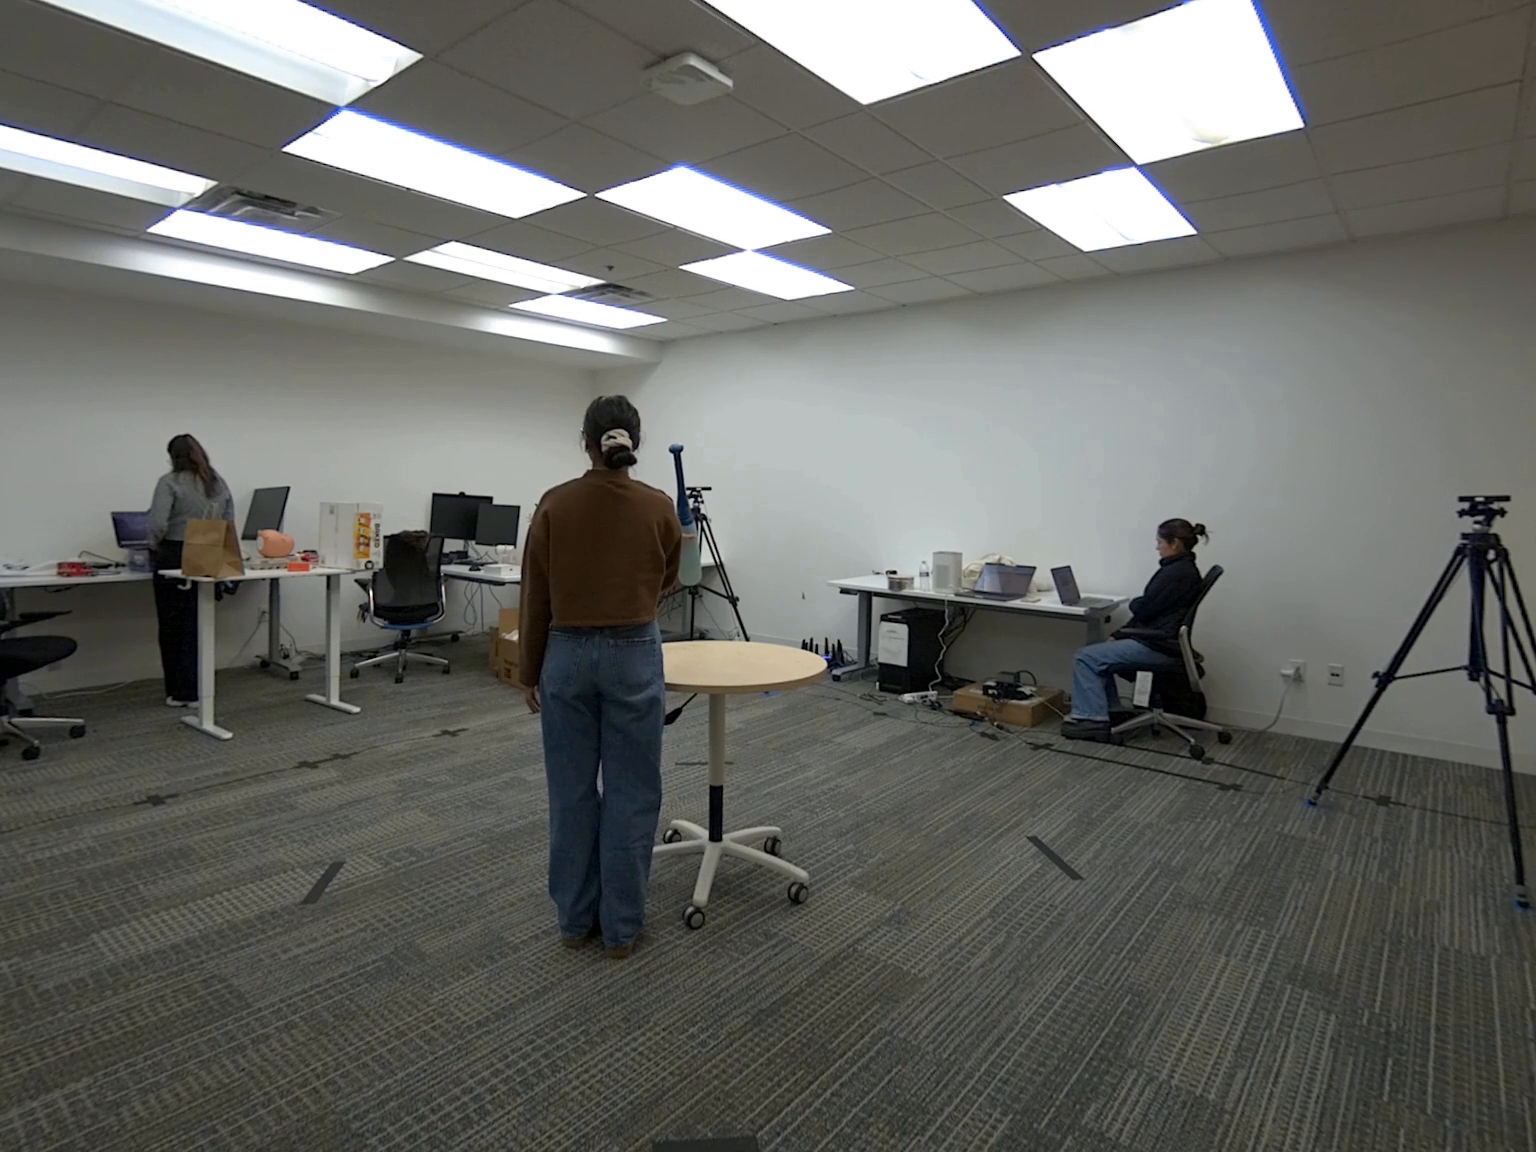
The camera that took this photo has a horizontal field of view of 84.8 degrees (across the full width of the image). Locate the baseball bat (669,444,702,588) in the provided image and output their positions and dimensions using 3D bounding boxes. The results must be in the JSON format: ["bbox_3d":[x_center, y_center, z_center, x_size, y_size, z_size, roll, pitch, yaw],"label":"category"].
[{"bbox_3d":[-0.305,-0.212,2.990,0.089,0.529,0.091,-4,29,0],"label":"baseball bat"}]
